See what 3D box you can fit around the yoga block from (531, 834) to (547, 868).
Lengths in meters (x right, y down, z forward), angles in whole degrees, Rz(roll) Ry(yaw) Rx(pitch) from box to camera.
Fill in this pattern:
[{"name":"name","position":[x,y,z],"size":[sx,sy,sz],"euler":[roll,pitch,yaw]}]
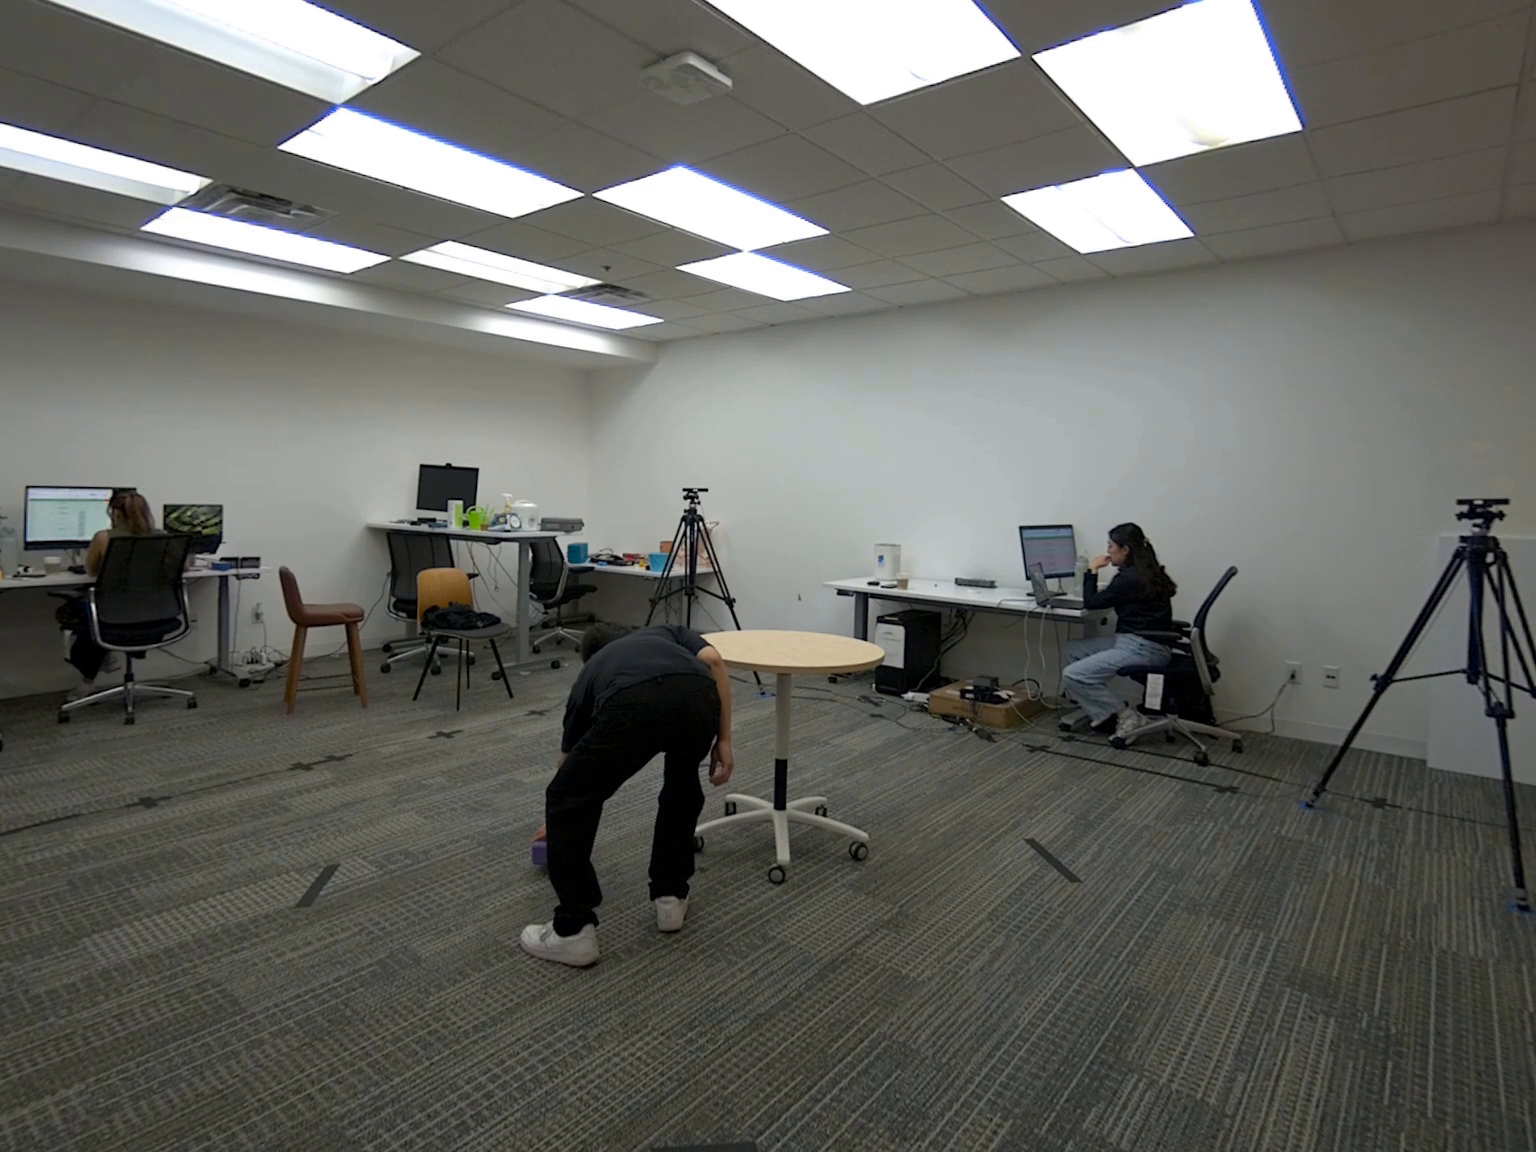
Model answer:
[{"name":"yoga block","position":[-0.785,0.979,3.134],"size":[0.149,0.076,0.230],"euler":[-3,4,-3]}]
